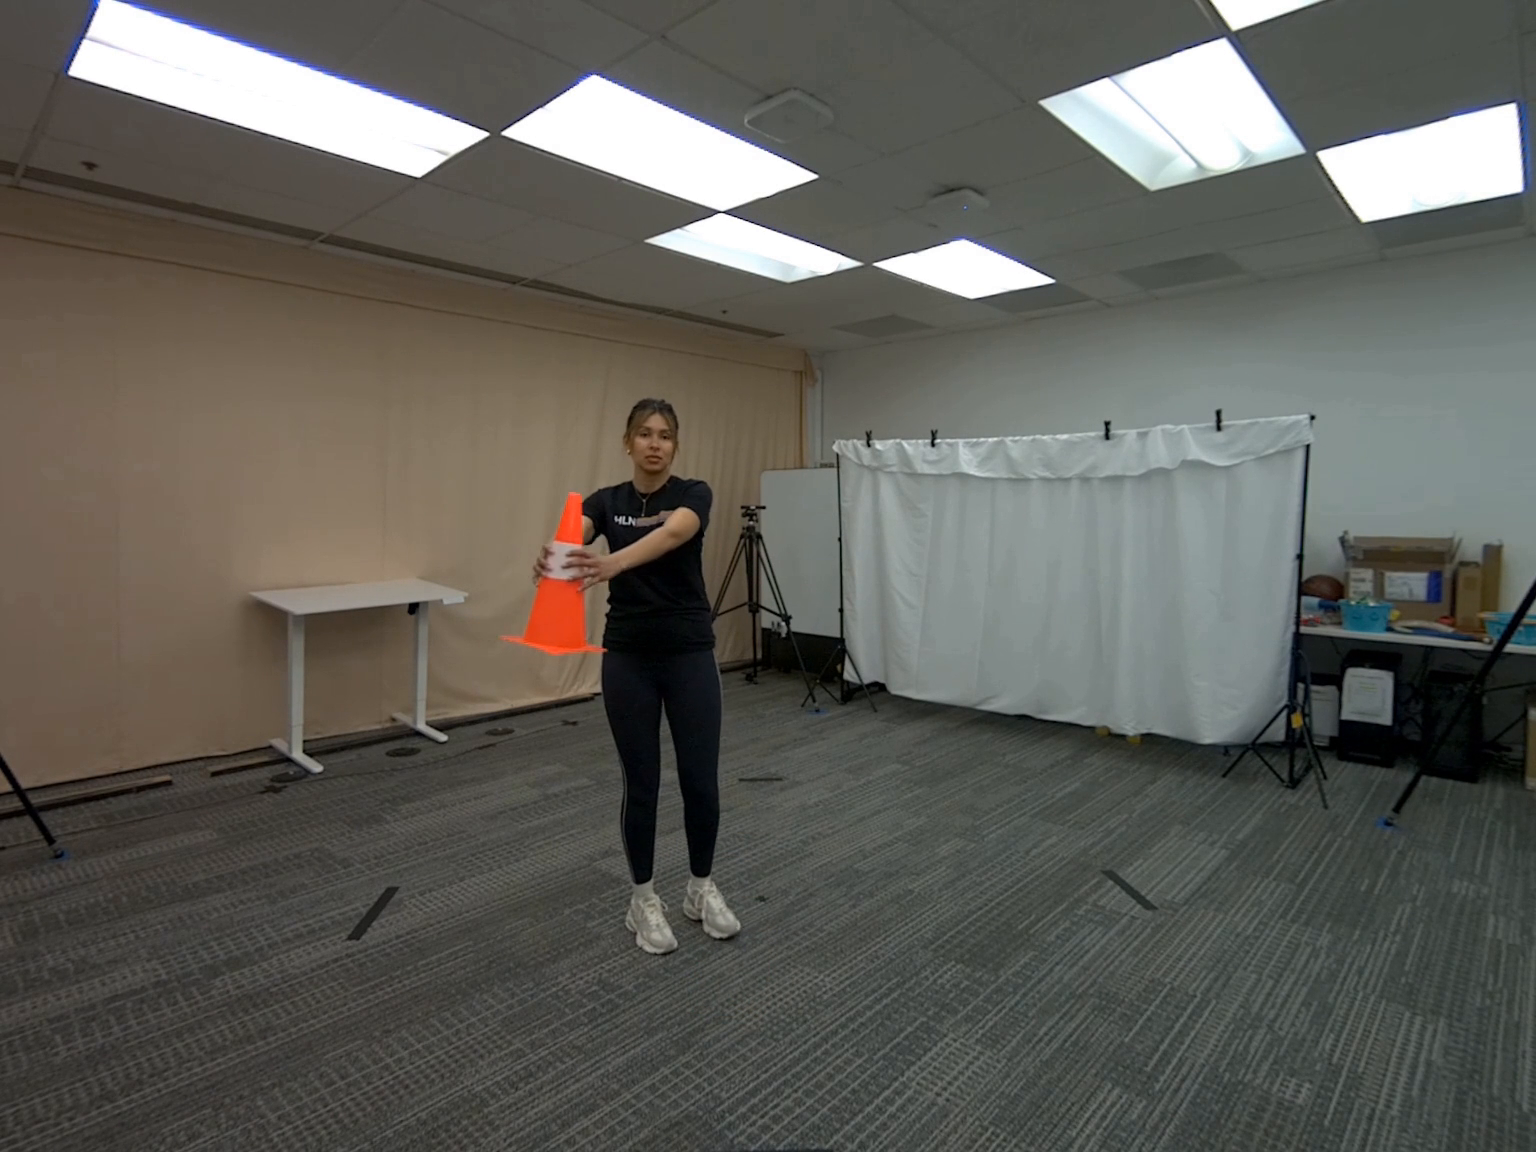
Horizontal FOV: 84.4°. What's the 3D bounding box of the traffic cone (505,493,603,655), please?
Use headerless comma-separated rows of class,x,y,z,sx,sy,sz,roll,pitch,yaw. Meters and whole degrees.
traffic cone,-0.501,-0.016,2.106,0.202,0.384,0.206,6,-2,-7
